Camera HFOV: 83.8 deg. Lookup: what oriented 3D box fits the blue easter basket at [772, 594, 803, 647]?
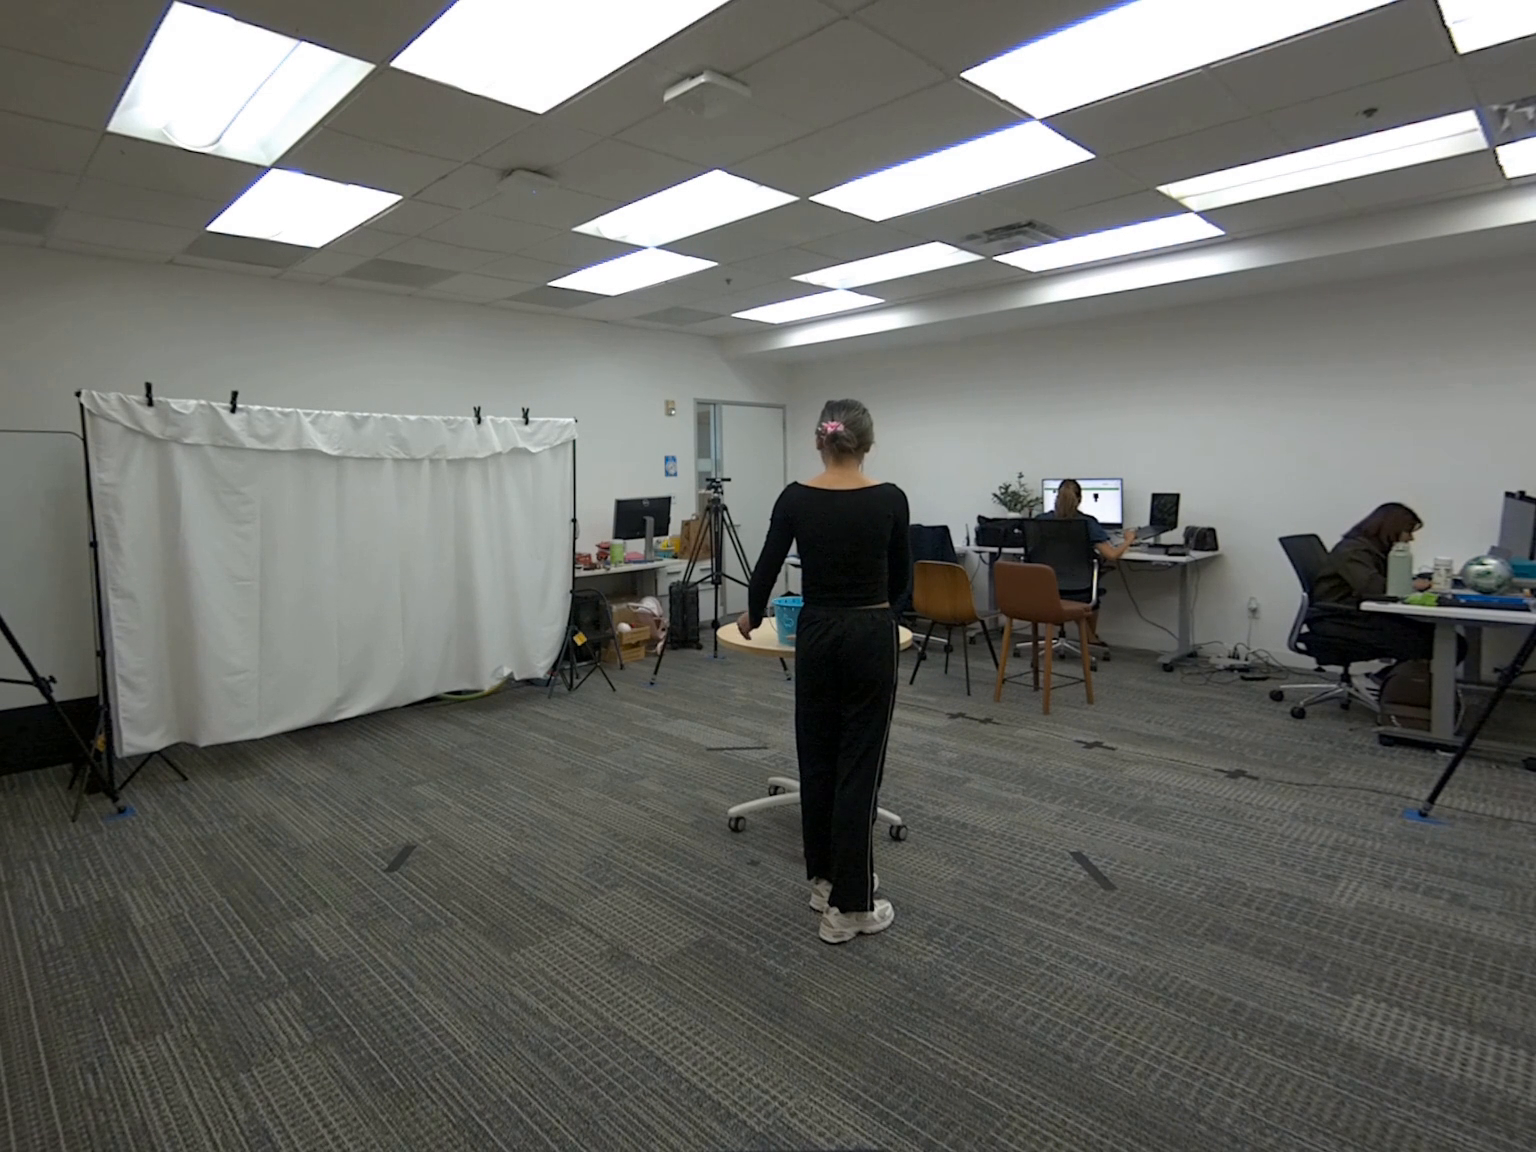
[{"bbox_3d":[0.129,0.170,3.184,0.243,0.155,0.244,1,4,-2],"label":"blue easter basket"}]
